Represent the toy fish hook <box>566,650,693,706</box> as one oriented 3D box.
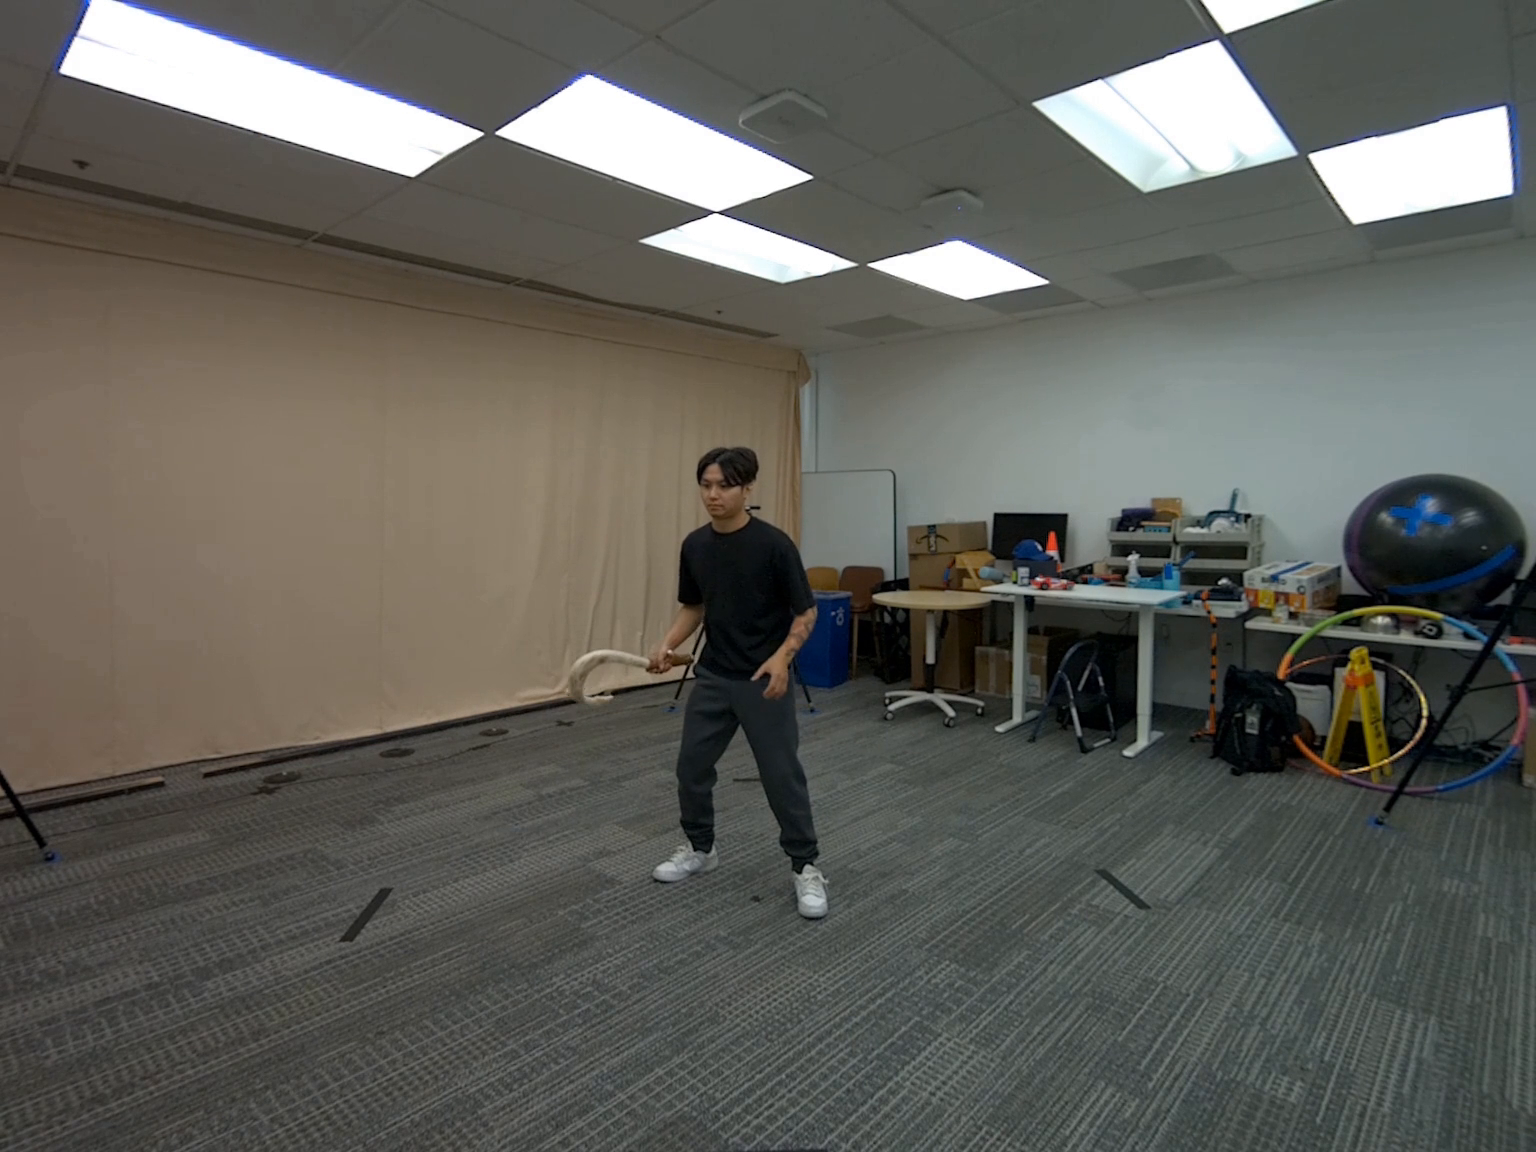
[{"bbox_3d":[-0.468,0.344,3.010,0.491,0.223,0.050,3,27,-34],"label":"toy fish hook"}]
